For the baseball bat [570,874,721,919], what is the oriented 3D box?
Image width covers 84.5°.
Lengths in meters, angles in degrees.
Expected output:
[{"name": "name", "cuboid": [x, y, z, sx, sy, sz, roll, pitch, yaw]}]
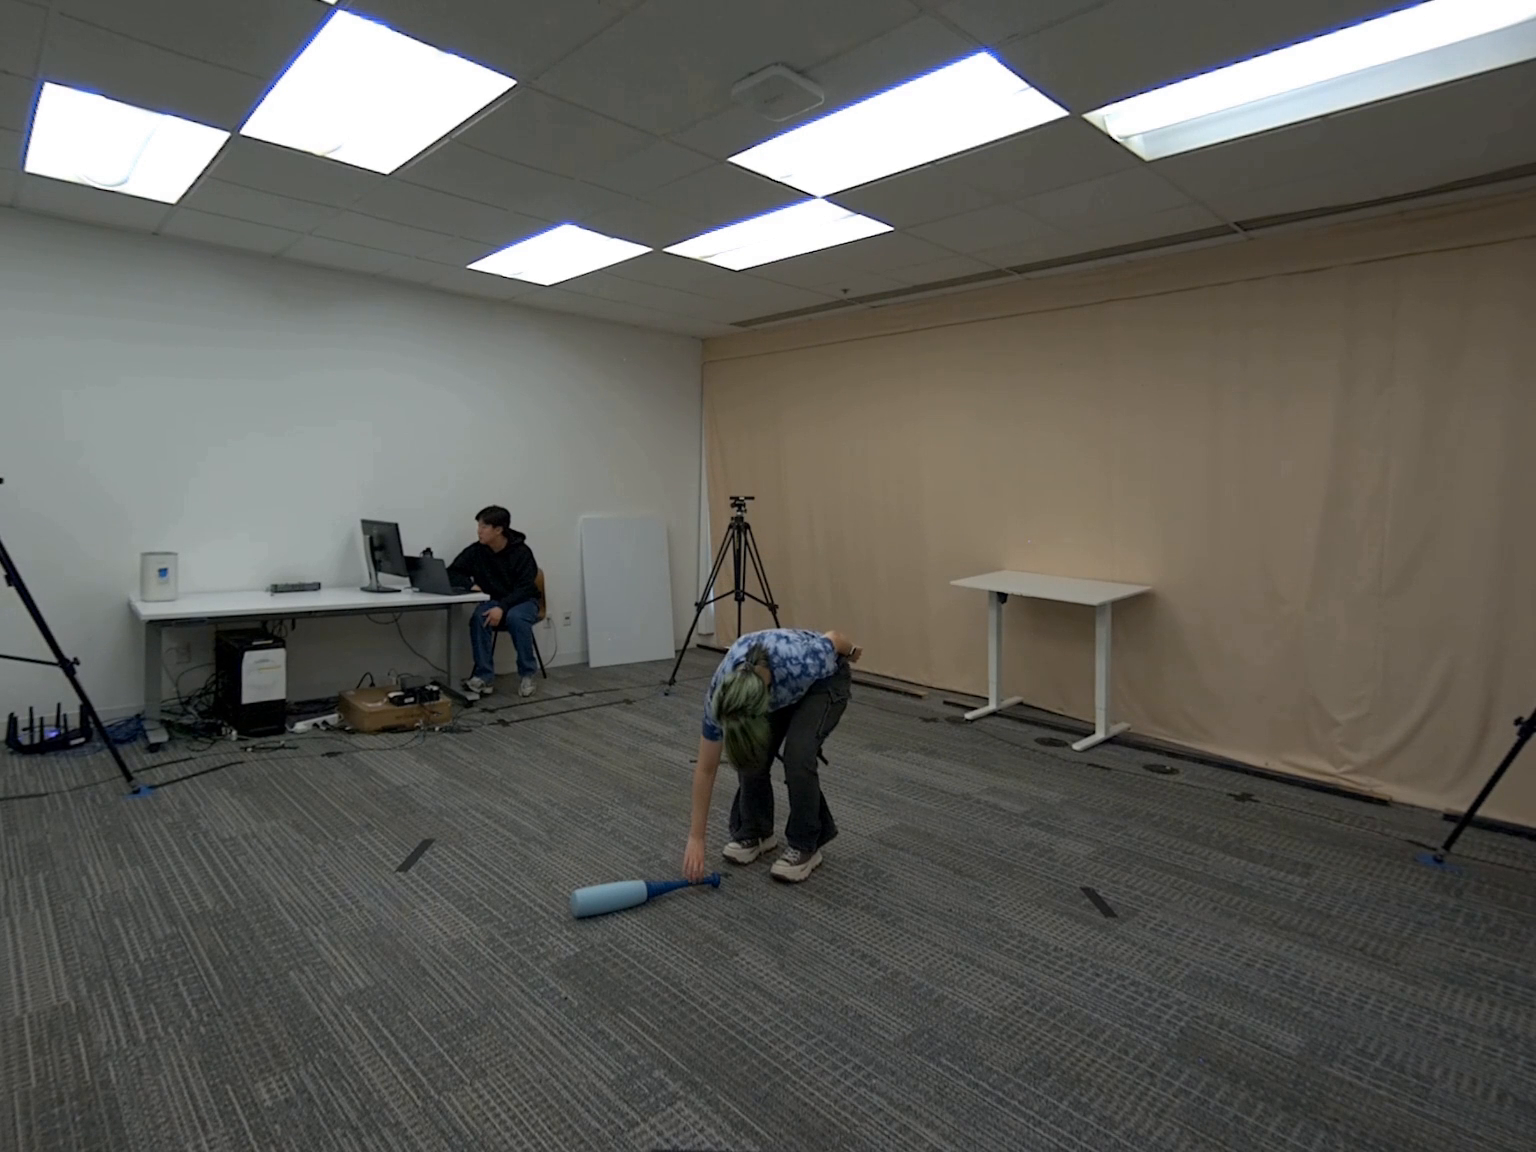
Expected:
[{"name": "baseball bat", "cuboid": [-0.416, 1.085, 2.885, 0.532, 0.089, 0.091, 2, 3, -29]}]
